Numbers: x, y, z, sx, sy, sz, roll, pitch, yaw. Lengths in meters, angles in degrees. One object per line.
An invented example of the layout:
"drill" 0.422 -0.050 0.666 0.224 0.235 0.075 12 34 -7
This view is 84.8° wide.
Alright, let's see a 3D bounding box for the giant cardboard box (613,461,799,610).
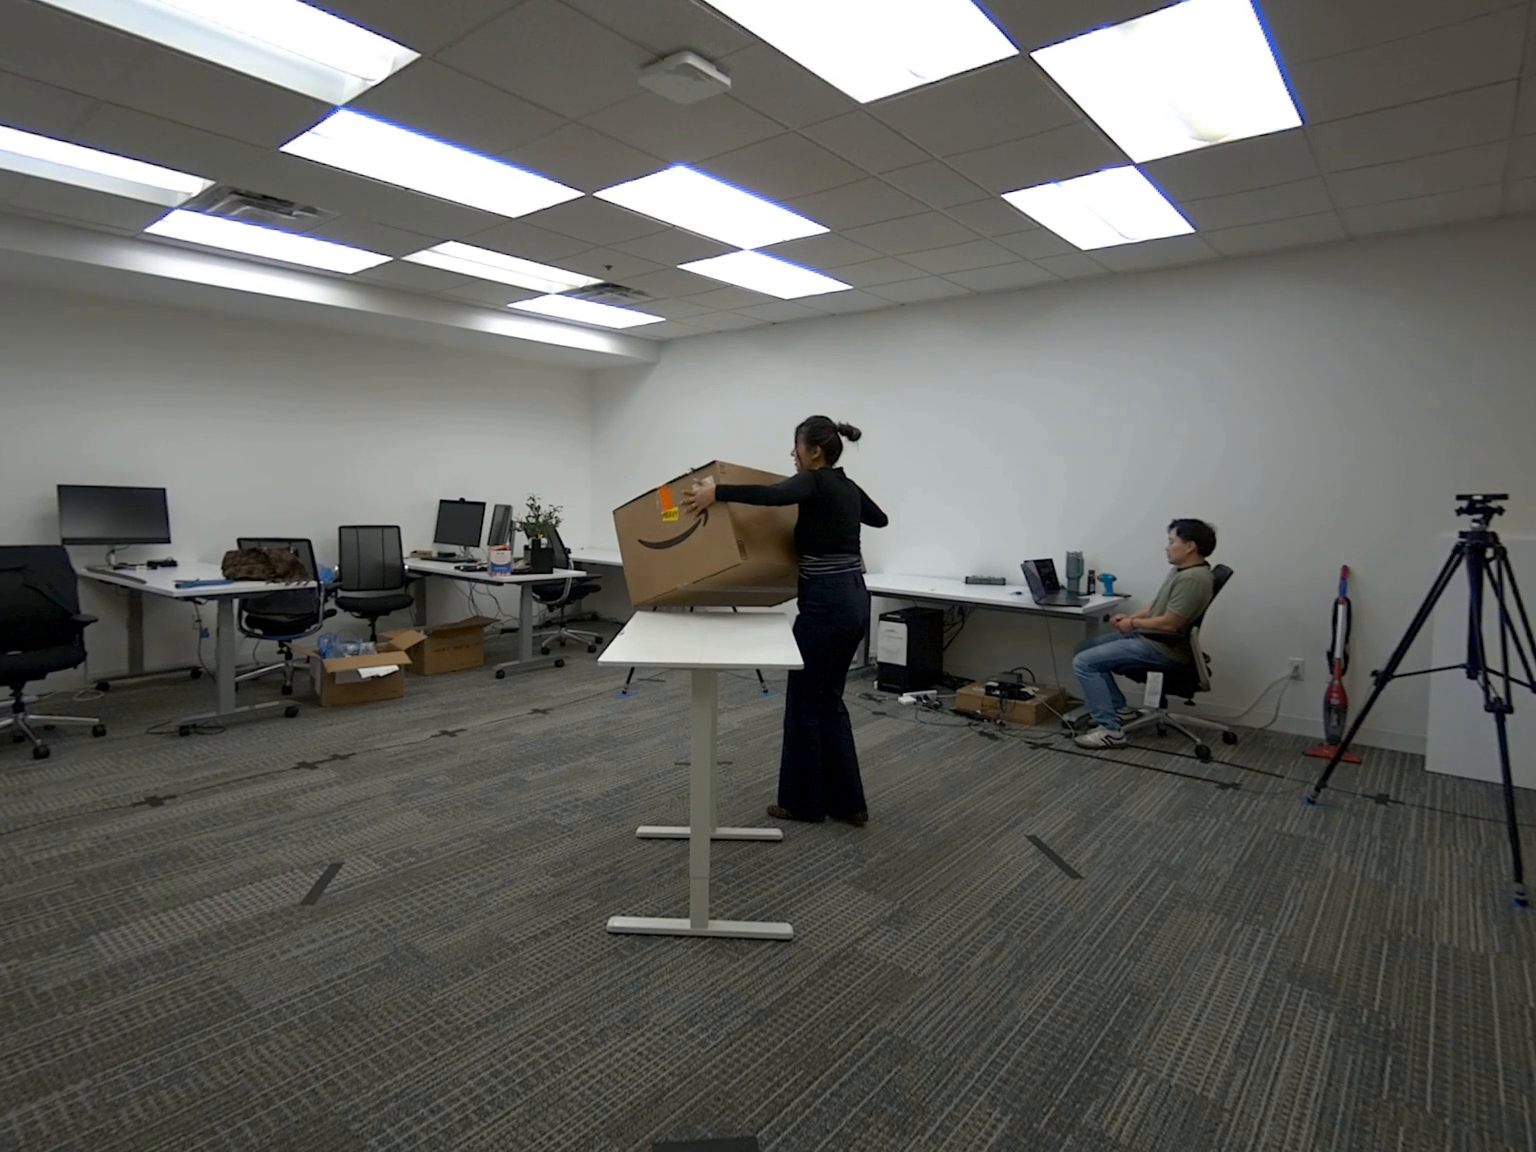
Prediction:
"giant cardboard box" -0.111 -0.148 3.773 0.587 0.433 0.993 -22 -14 32
